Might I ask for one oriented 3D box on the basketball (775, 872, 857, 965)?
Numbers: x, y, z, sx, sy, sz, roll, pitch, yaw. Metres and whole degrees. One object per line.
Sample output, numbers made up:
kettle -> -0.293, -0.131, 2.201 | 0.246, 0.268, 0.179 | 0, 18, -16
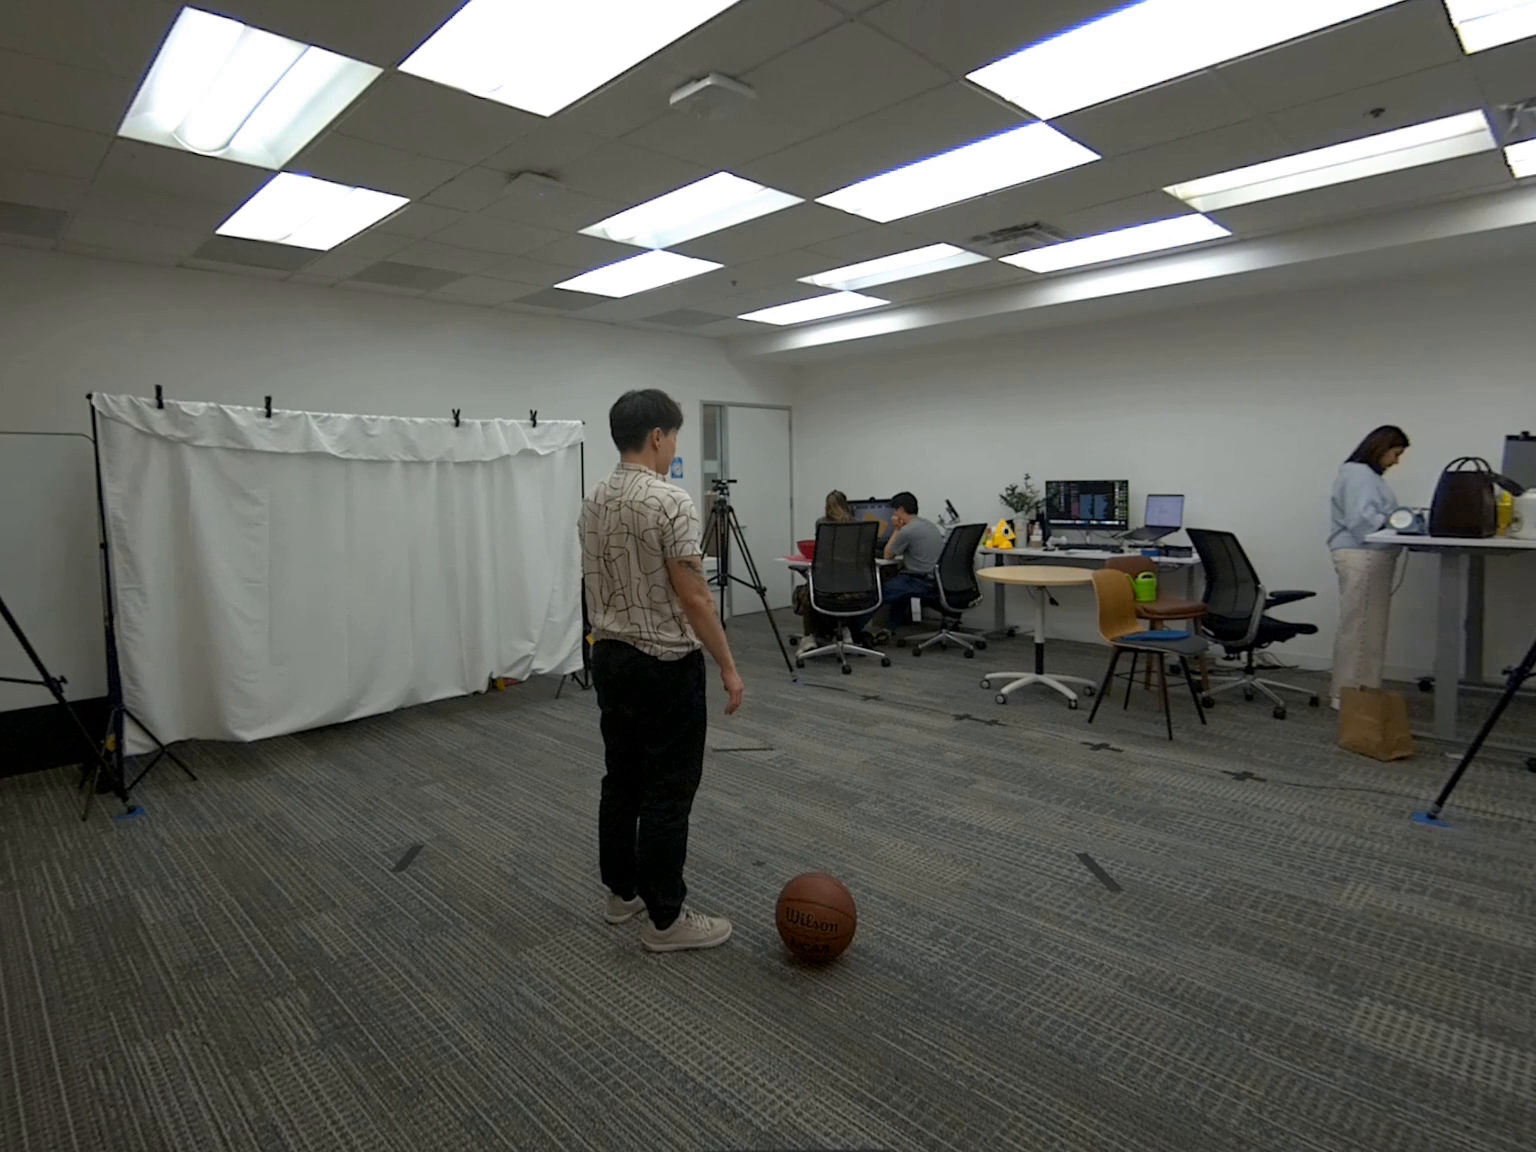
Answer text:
basketball -> 0.143, 0.991, 2.504 | 0.236, 0.235, 0.237 | -1, 5, -2
